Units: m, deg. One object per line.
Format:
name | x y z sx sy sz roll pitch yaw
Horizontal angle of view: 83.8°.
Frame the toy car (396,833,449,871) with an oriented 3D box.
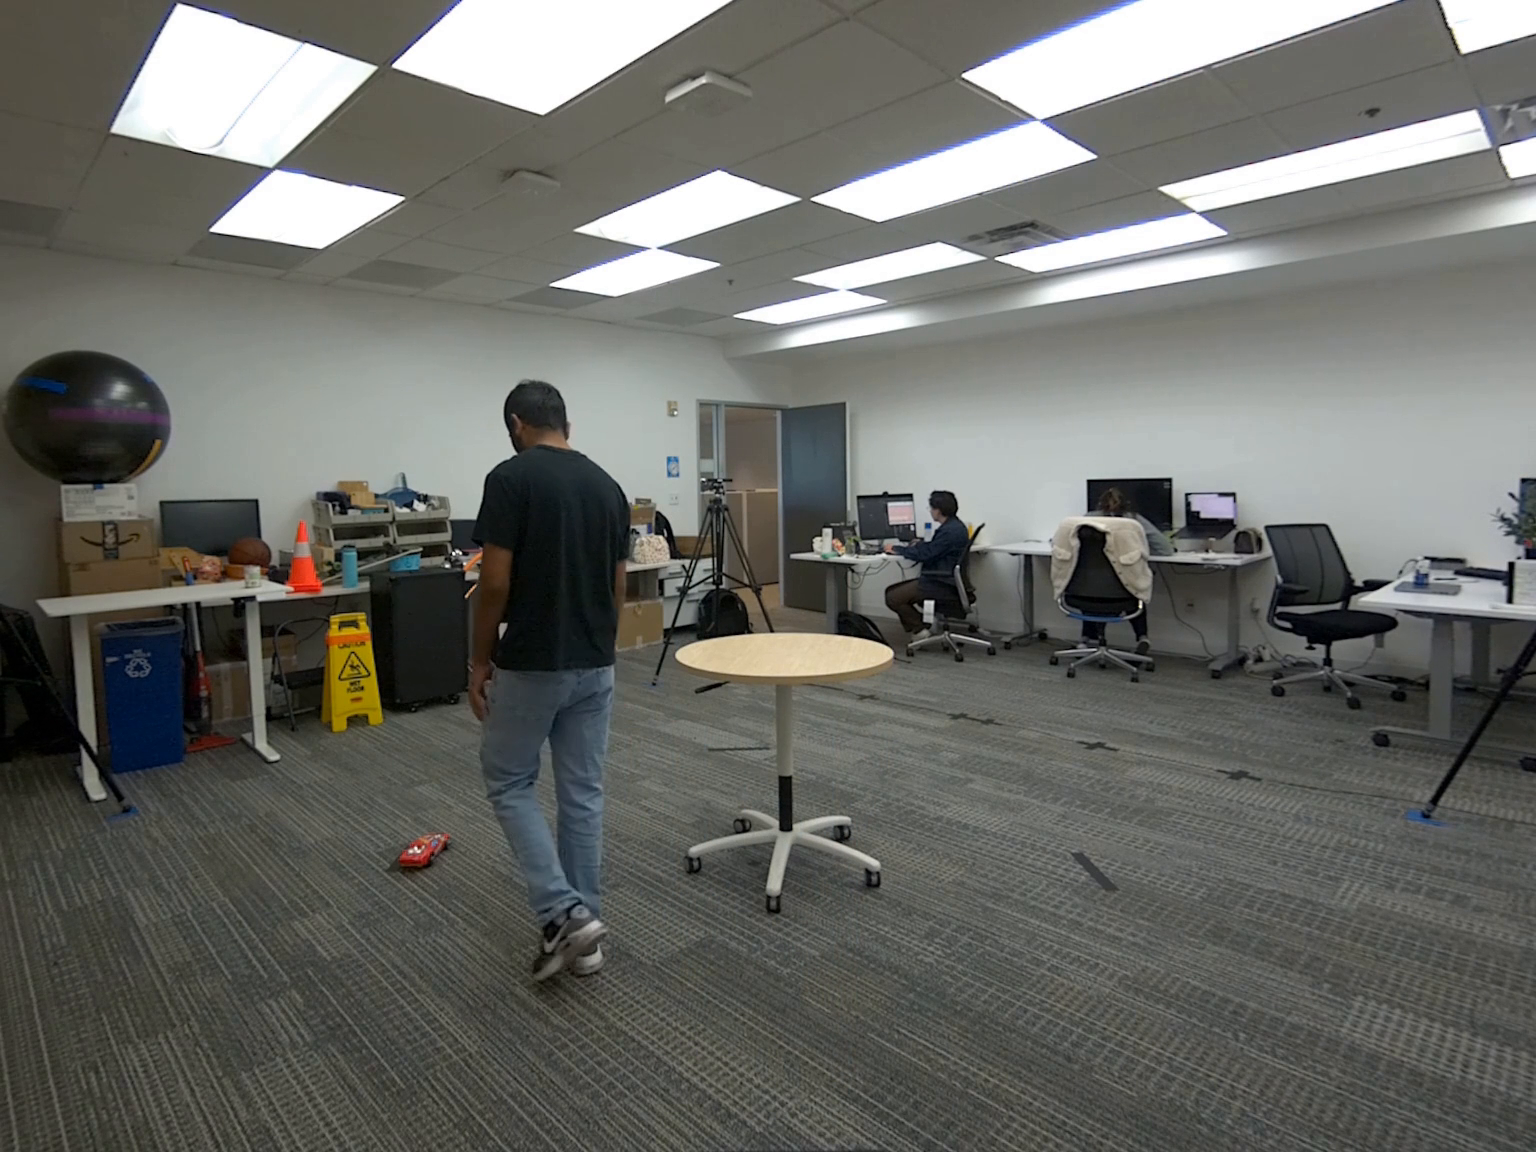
toy car | -1.288 1.030 3.202 0.131 0.083 0.251 0 -4 6
